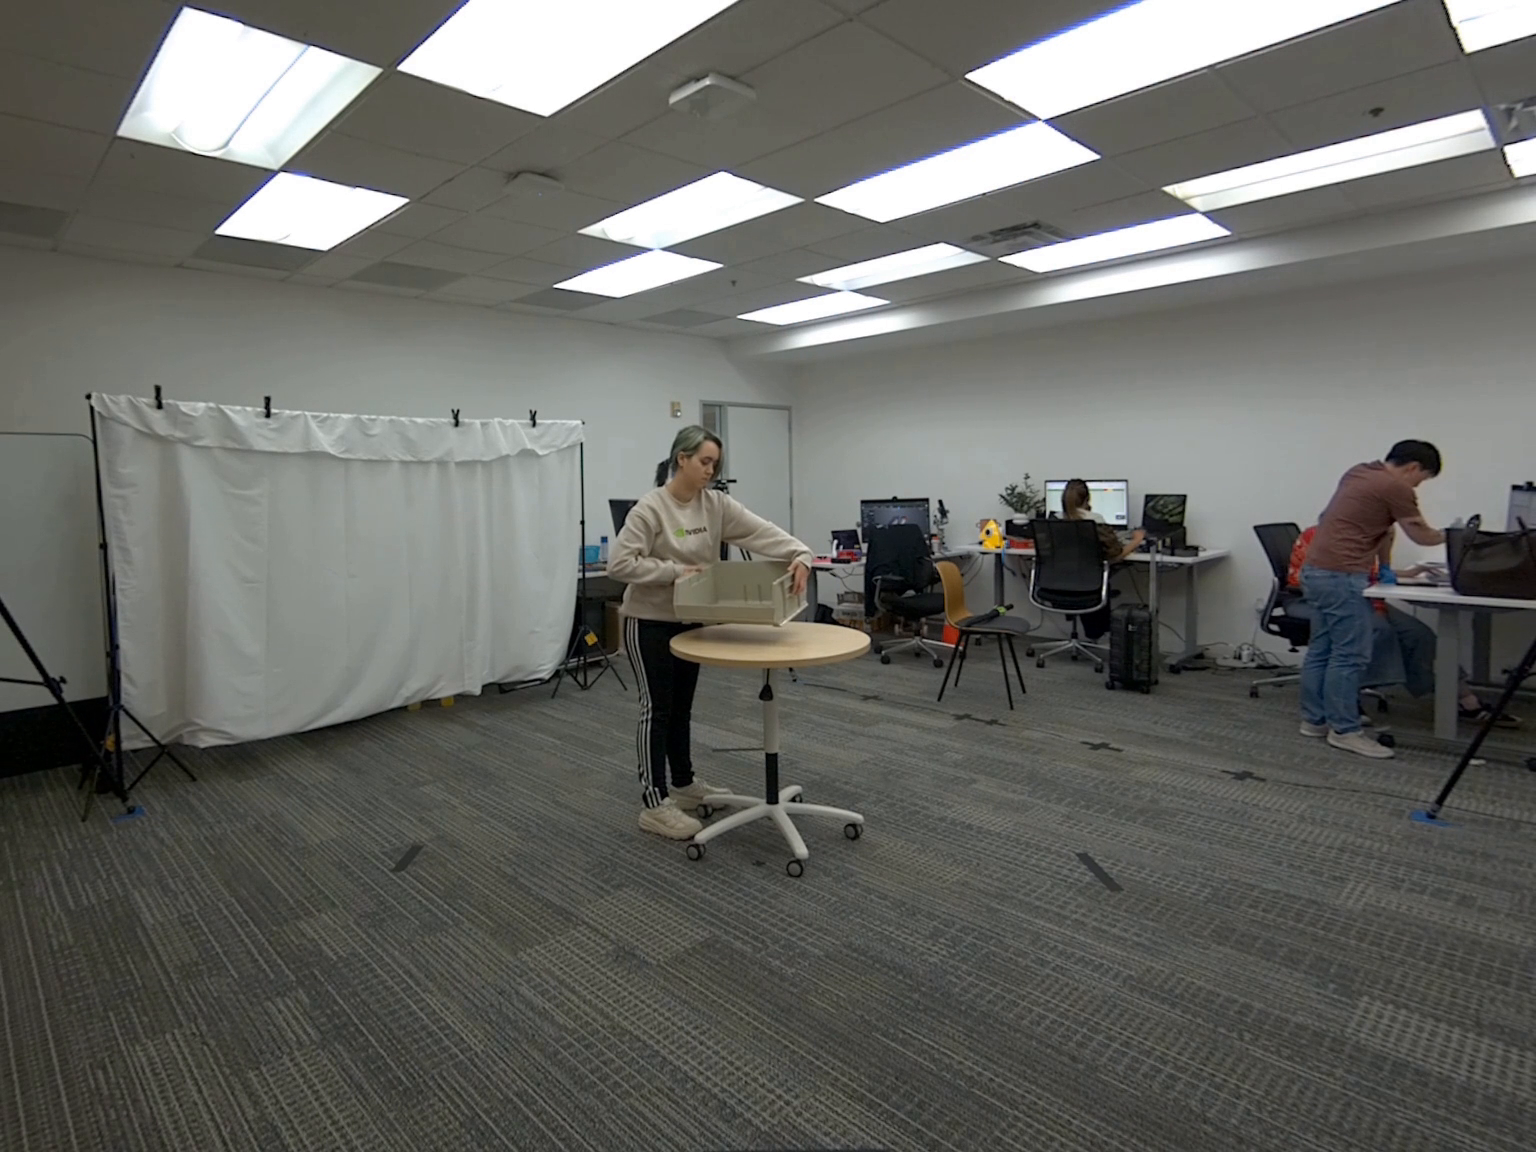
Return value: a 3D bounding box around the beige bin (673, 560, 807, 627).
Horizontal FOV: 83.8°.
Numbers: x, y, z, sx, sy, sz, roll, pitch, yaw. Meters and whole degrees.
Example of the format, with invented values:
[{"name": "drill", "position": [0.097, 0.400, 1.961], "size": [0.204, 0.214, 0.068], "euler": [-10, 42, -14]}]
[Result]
[{"name": "beige bin", "position": [-0.102, 0.067, 3.334], "size": [0.431, 0.187, 0.372], "euler": [0, 11, 24]}]
